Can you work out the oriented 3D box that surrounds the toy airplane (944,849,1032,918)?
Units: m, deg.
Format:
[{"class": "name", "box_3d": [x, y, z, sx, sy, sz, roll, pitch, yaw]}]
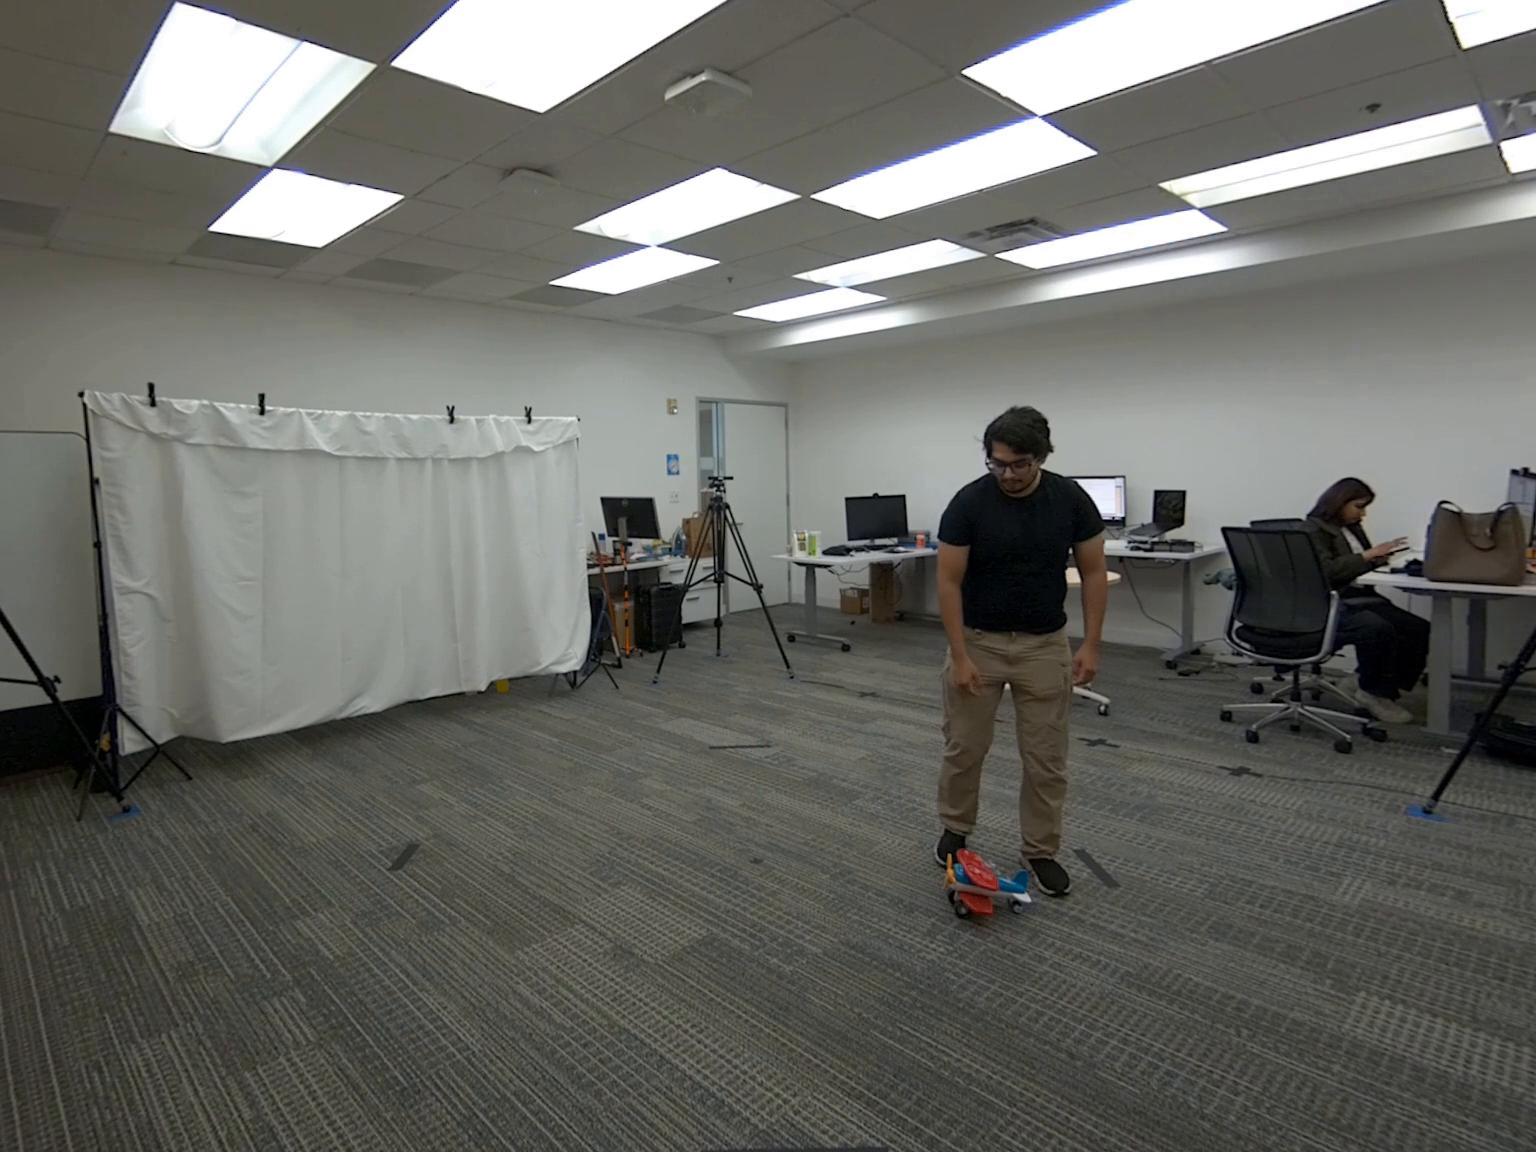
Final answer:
[{"class": "toy airplane", "box_3d": [0.695, 0.990, 2.735, 0.253, 0.155, 0.258, -6, 8, -30]}]
